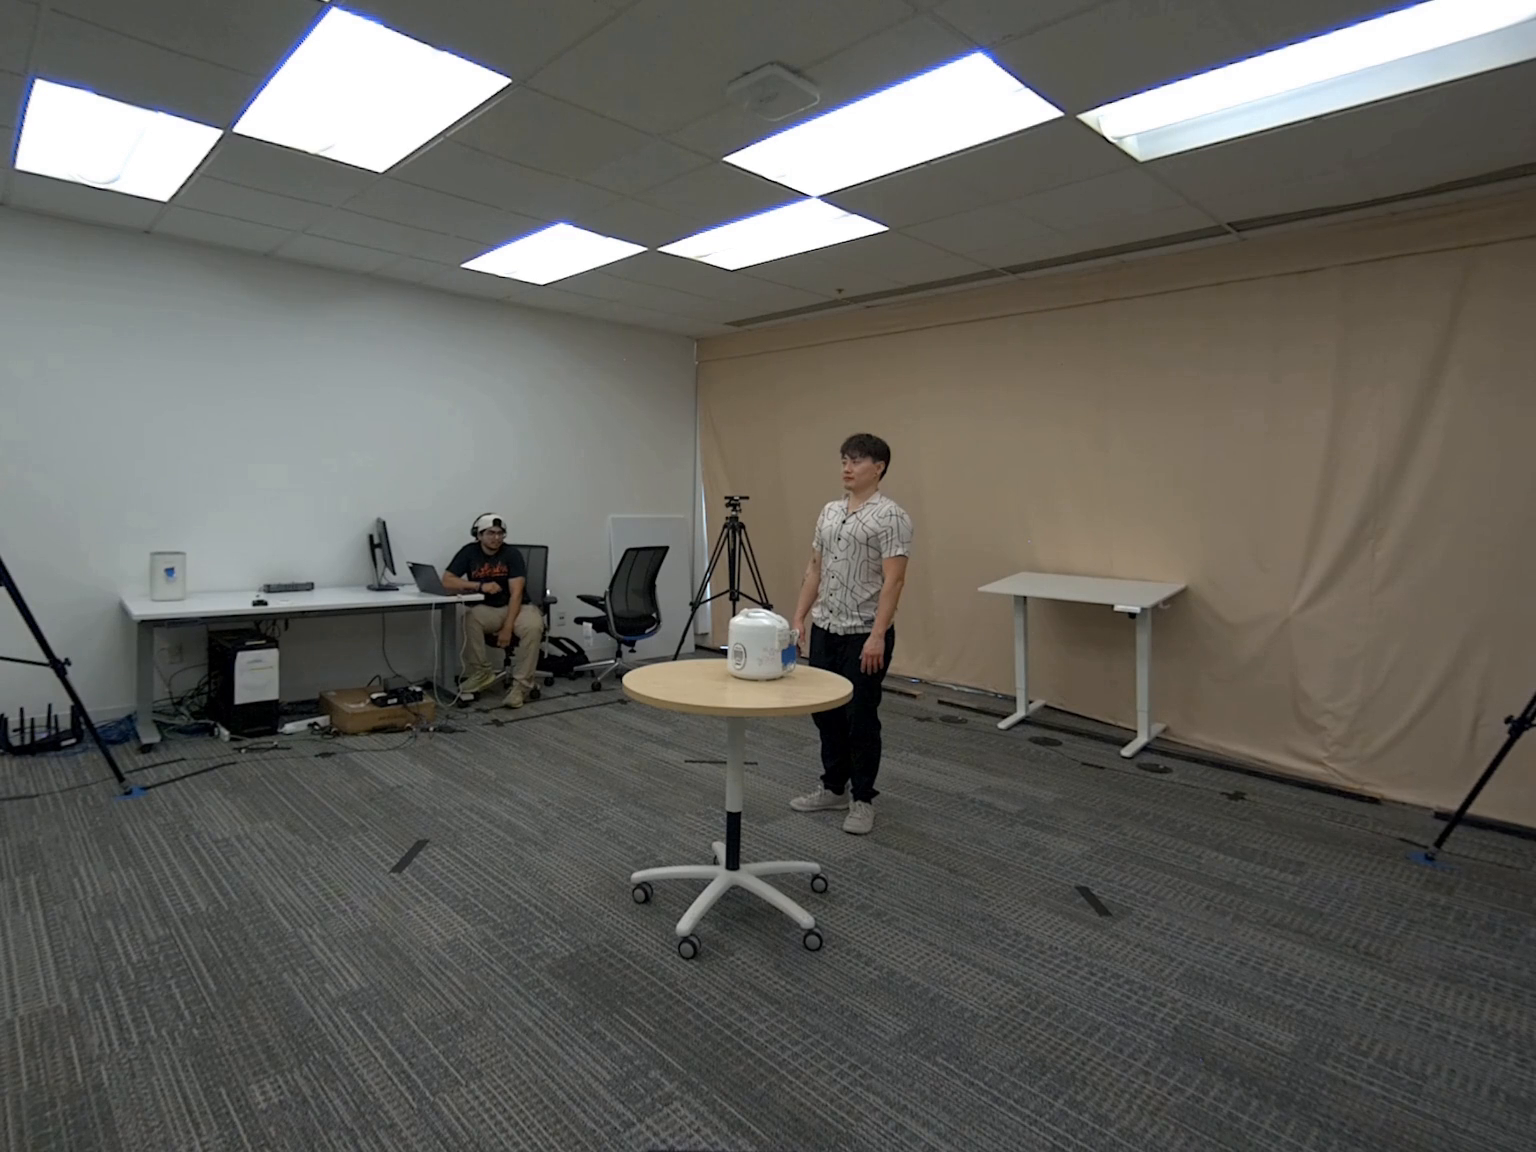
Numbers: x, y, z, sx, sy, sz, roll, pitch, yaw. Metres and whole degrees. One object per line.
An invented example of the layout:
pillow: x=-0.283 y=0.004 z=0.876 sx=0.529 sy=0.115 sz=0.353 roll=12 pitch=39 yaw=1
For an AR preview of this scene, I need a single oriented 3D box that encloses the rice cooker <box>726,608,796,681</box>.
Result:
rice cooker: x=-0.036 y=0.230 z=2.884 sx=0.226 sy=0.232 sz=0.212 roll=5 pitch=4 yaw=38
